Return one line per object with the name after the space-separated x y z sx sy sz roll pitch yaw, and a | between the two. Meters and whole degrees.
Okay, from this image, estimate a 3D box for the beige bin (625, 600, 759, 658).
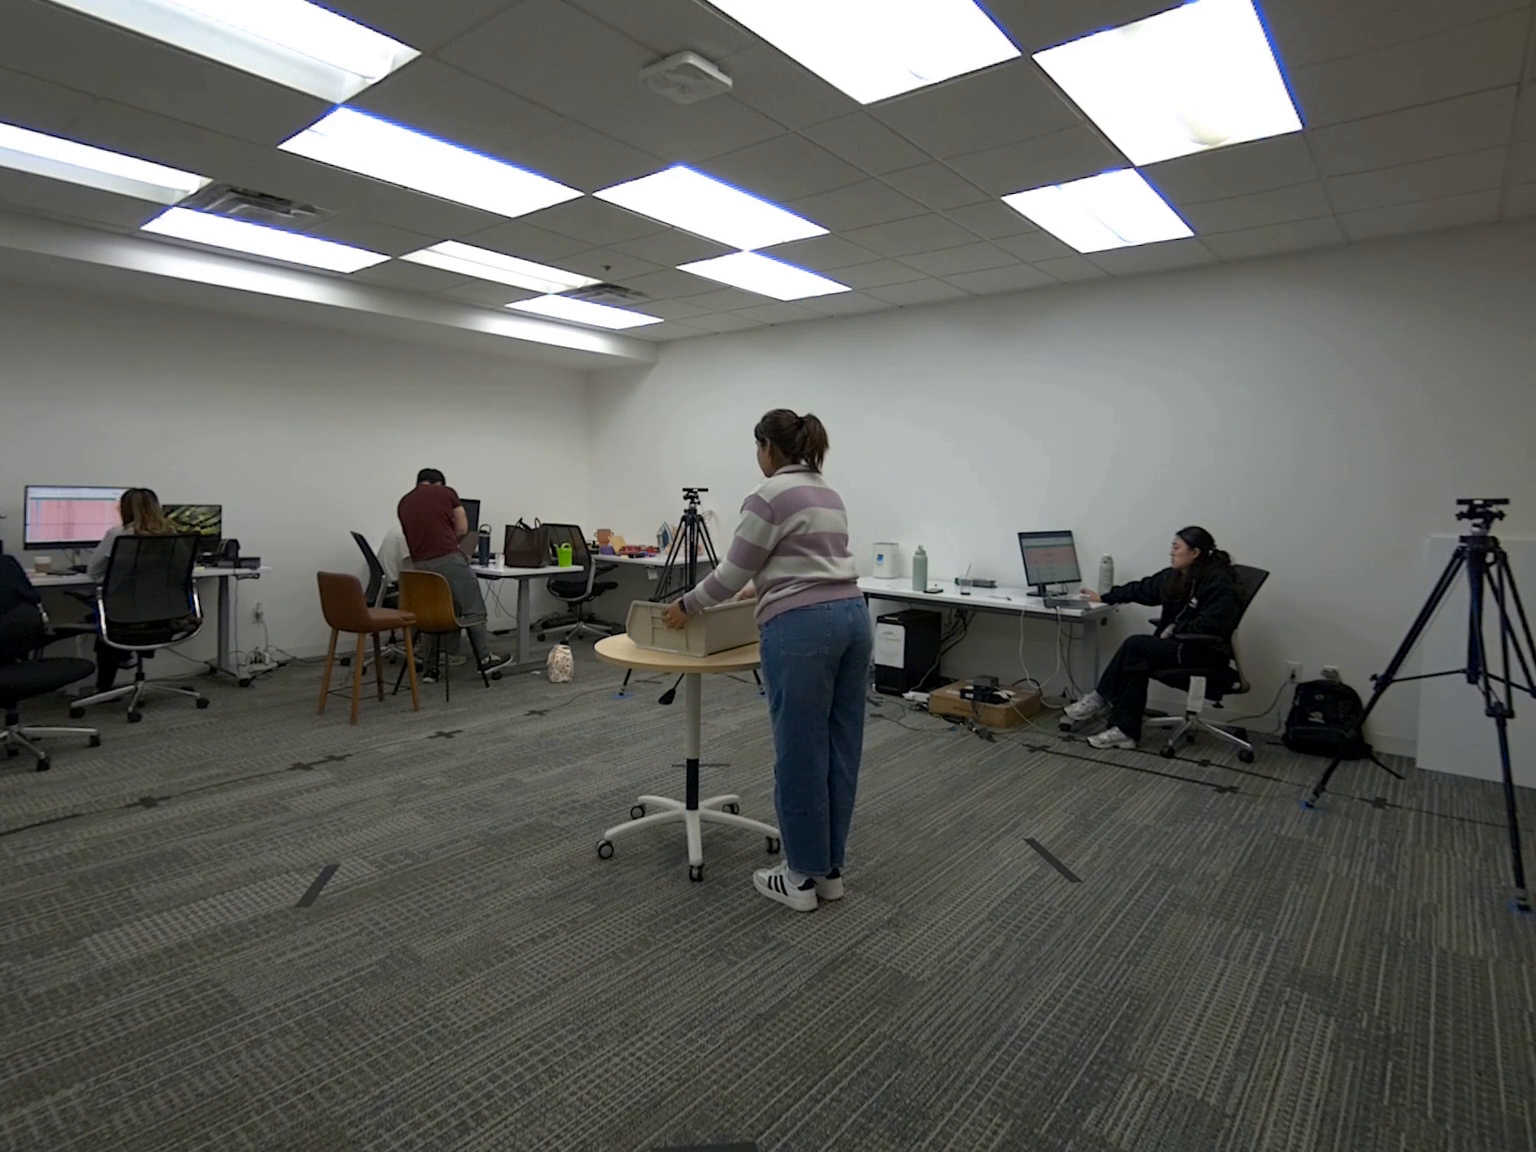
-0.287 0.174 3.315 0.389 0.188 0.411 7 8 33 | beige bin
